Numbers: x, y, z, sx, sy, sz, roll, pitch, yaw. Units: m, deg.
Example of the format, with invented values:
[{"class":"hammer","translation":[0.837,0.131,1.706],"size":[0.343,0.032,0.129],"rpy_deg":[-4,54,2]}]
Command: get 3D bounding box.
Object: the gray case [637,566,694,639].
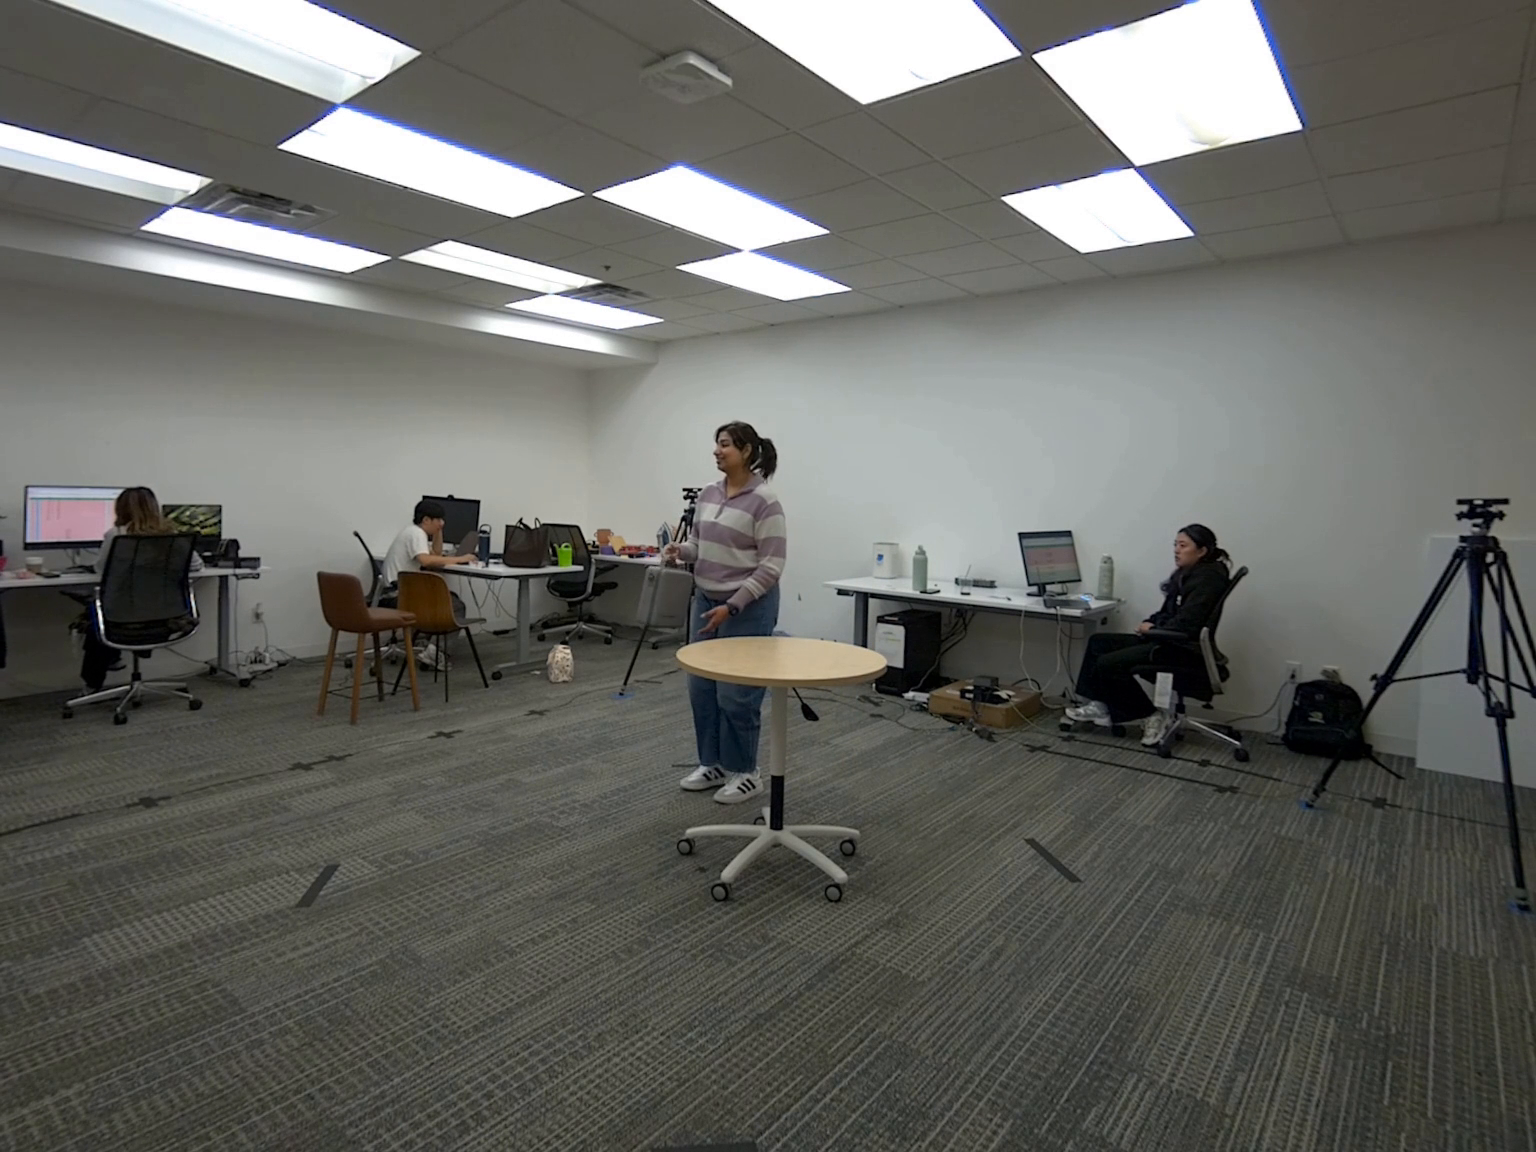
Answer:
[{"class":"gray case","translation":[-0.453,0.092,3.636],"size":[0.107,0.261,0.249],"rpy_deg":[11,-2,24]}]
